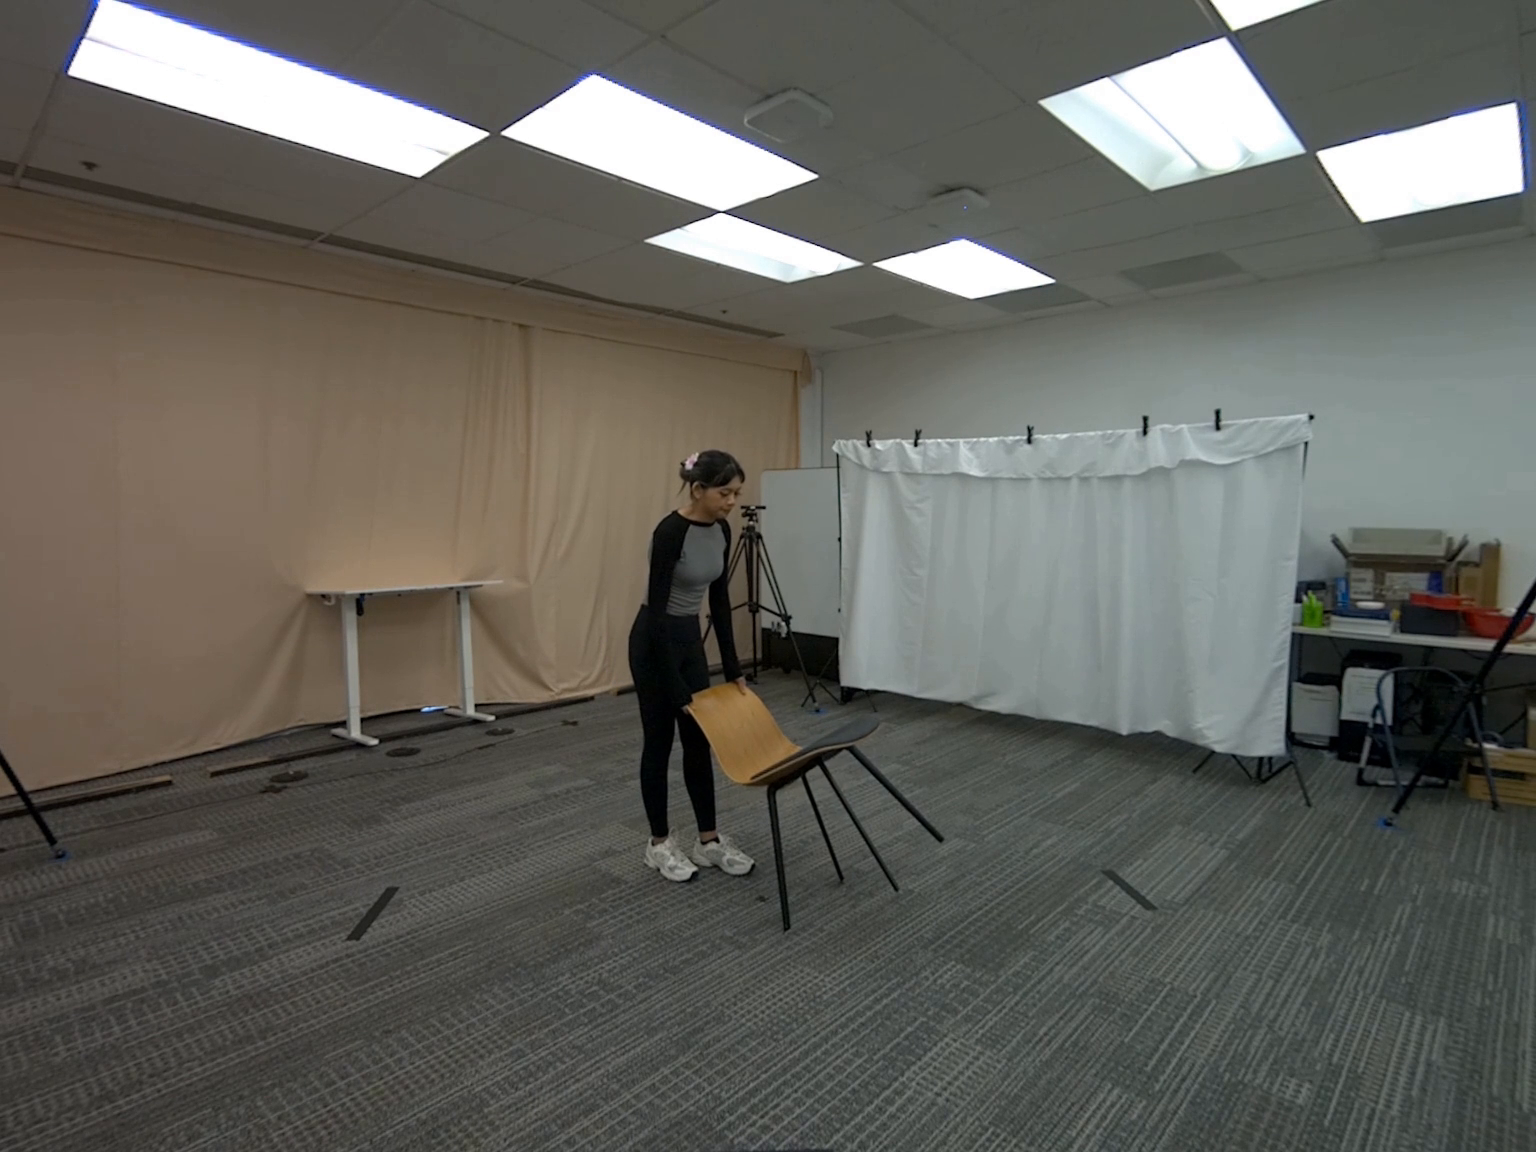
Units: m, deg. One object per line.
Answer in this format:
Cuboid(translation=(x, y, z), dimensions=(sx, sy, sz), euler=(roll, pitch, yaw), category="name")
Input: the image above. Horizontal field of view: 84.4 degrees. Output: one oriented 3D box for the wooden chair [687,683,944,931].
Cuboid(translation=(0.152, 0.663, 2.918), dimensions=(0.529, 0.892, 0.465), euler=(-39, -17, 28), category="wooden chair")
